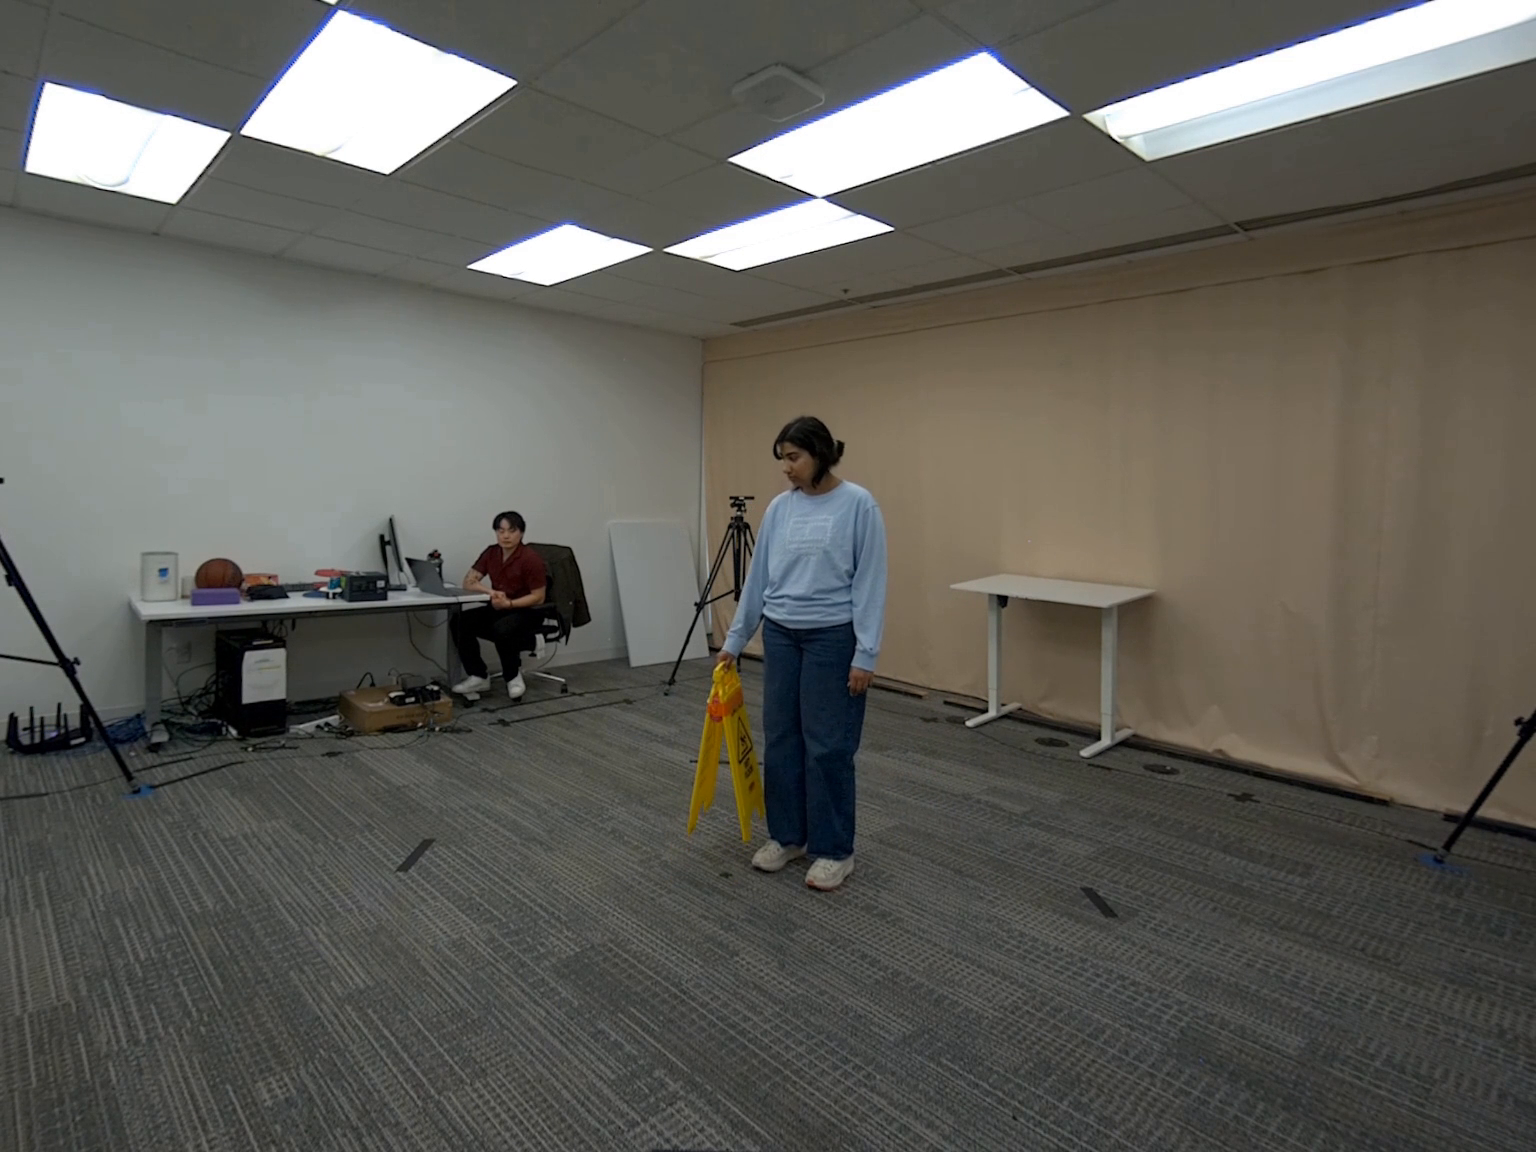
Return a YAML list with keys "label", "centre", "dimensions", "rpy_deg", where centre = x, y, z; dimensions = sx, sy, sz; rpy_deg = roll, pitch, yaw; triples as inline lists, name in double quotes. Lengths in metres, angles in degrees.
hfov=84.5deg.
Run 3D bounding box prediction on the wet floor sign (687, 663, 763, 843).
- label: "wet floor sign"
  centre: [-0.168, 0.649, 3.271]
  dimensions: [0.293, 0.643, 0.280]
  rpy_deg: [0, 6, 16]
